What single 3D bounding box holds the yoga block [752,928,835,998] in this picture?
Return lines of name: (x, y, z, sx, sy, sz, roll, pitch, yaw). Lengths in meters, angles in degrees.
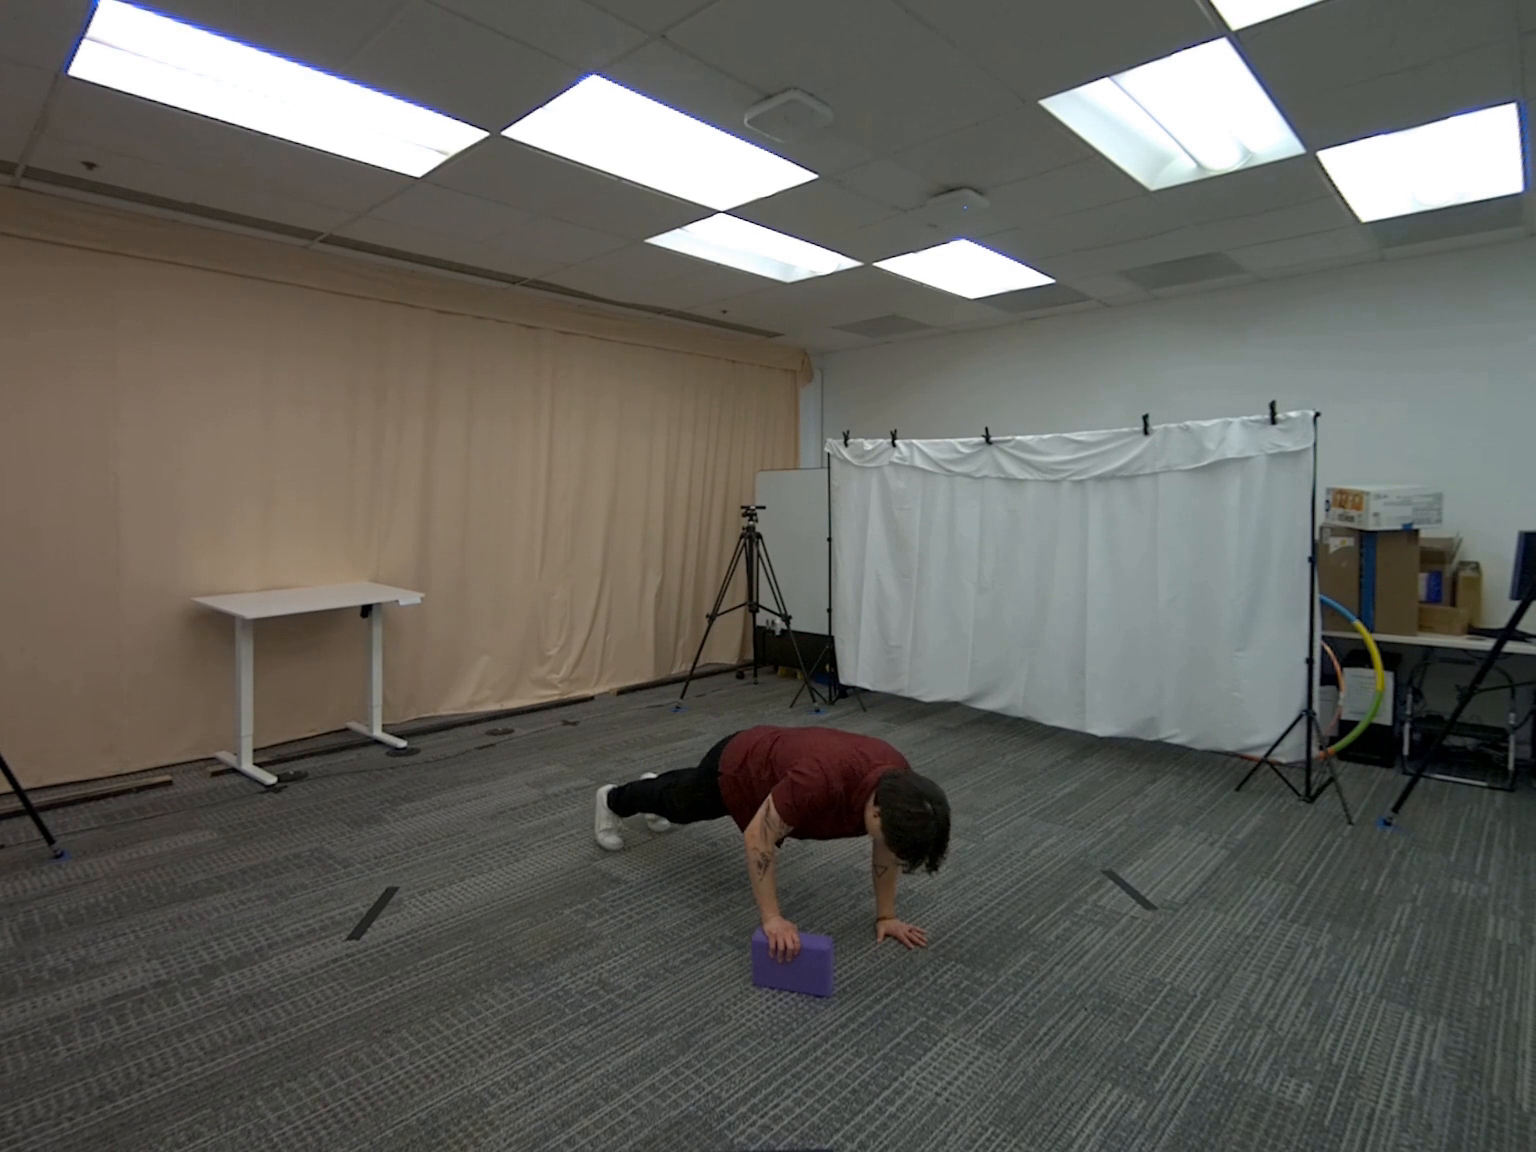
yoga block: (0.076, 1.113, 2.441, 0.233, 0.148, 0.075, 0, 4, 17)
